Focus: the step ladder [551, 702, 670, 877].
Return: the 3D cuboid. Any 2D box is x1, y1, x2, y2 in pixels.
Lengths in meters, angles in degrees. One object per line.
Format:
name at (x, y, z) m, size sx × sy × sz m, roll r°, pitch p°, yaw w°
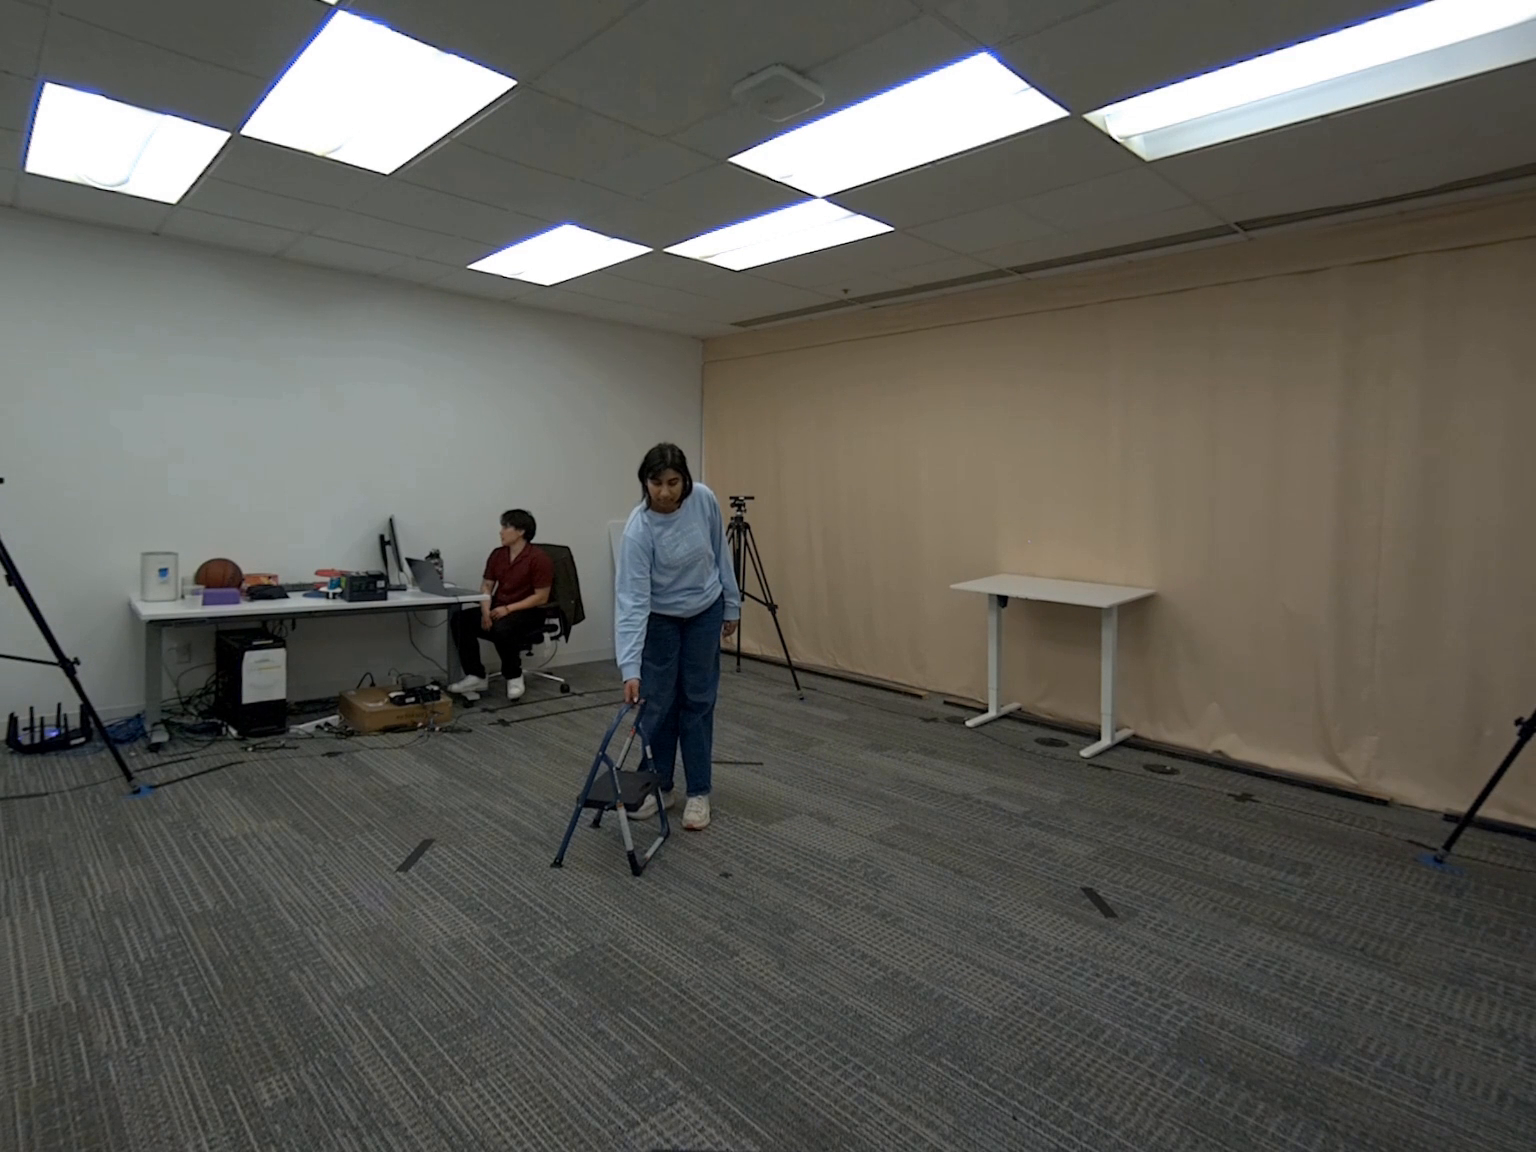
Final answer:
step ladder at (-0.620, 0.778, 3.291) m, size 0.352 × 0.605 × 0.428 m, roll 1°, pitch 3°, yaw 9°
